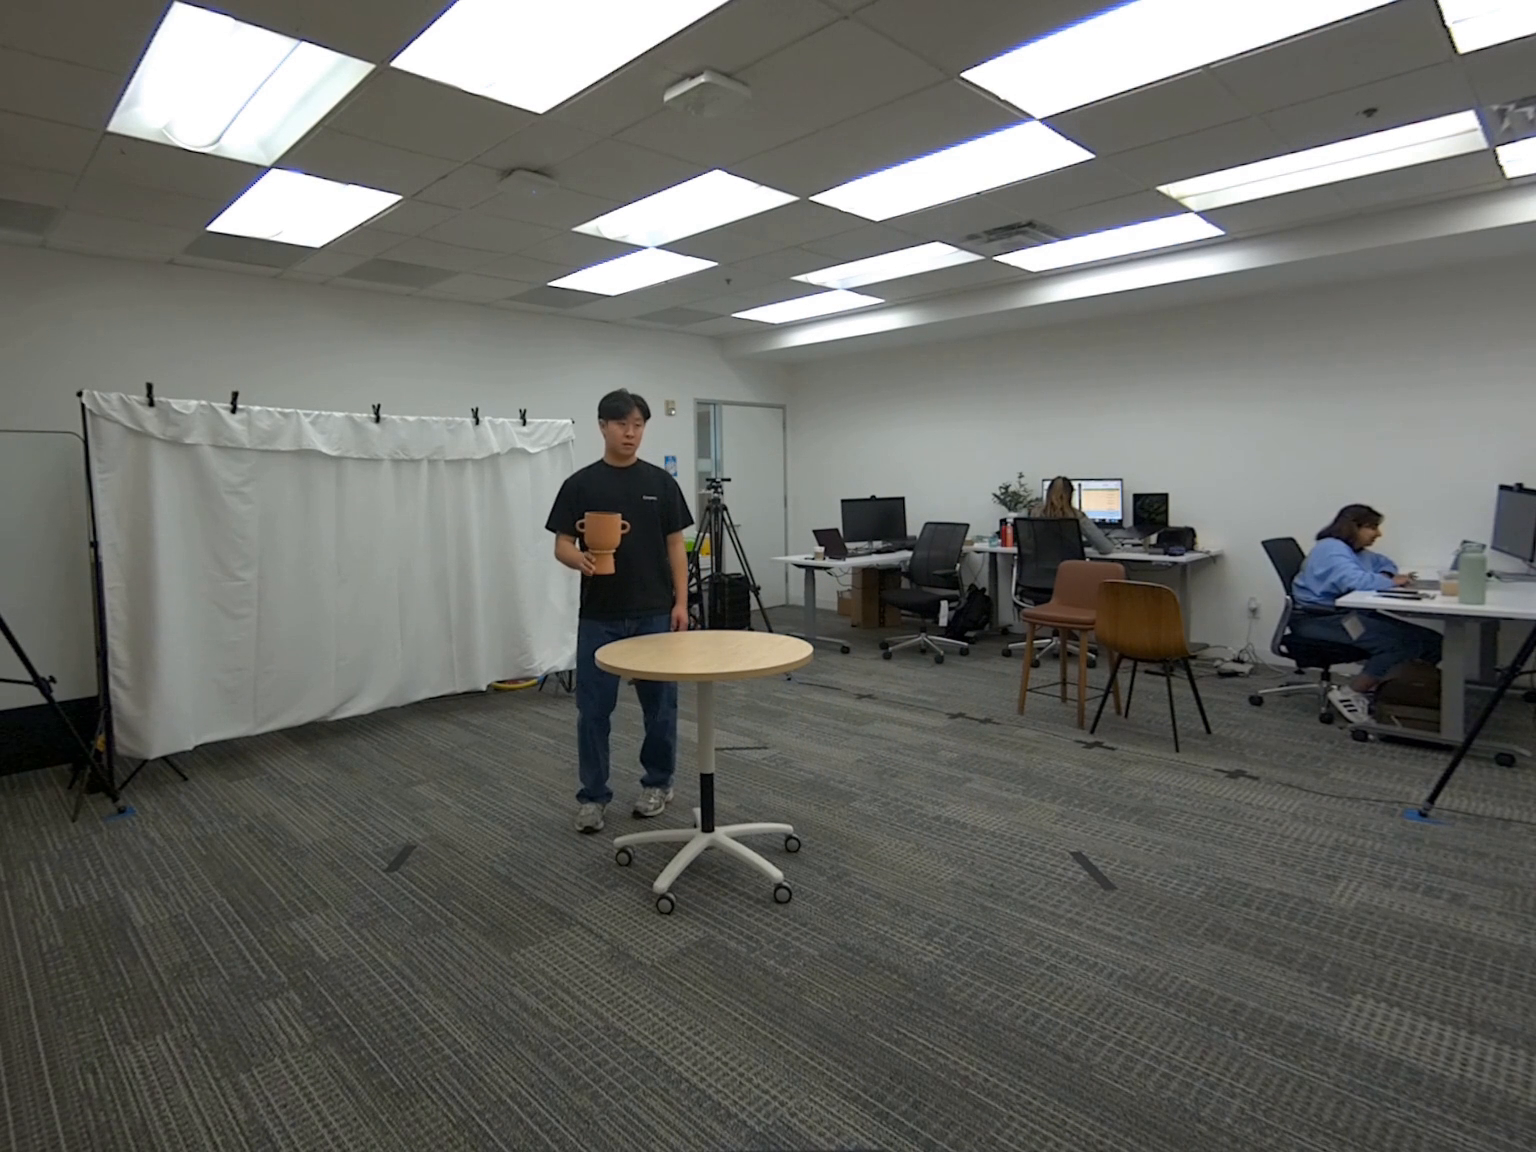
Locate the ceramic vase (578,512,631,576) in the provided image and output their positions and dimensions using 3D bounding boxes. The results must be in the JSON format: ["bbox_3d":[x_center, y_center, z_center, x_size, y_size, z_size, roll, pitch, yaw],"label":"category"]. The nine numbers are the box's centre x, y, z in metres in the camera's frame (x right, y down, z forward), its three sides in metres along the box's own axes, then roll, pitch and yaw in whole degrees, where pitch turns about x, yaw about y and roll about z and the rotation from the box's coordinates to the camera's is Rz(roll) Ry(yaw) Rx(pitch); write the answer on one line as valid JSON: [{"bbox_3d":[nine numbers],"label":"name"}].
[{"bbox_3d":[-0.625,-0.122,3.187,0.163,0.219,0.132,3,5,26],"label":"ceramic vase"}]
